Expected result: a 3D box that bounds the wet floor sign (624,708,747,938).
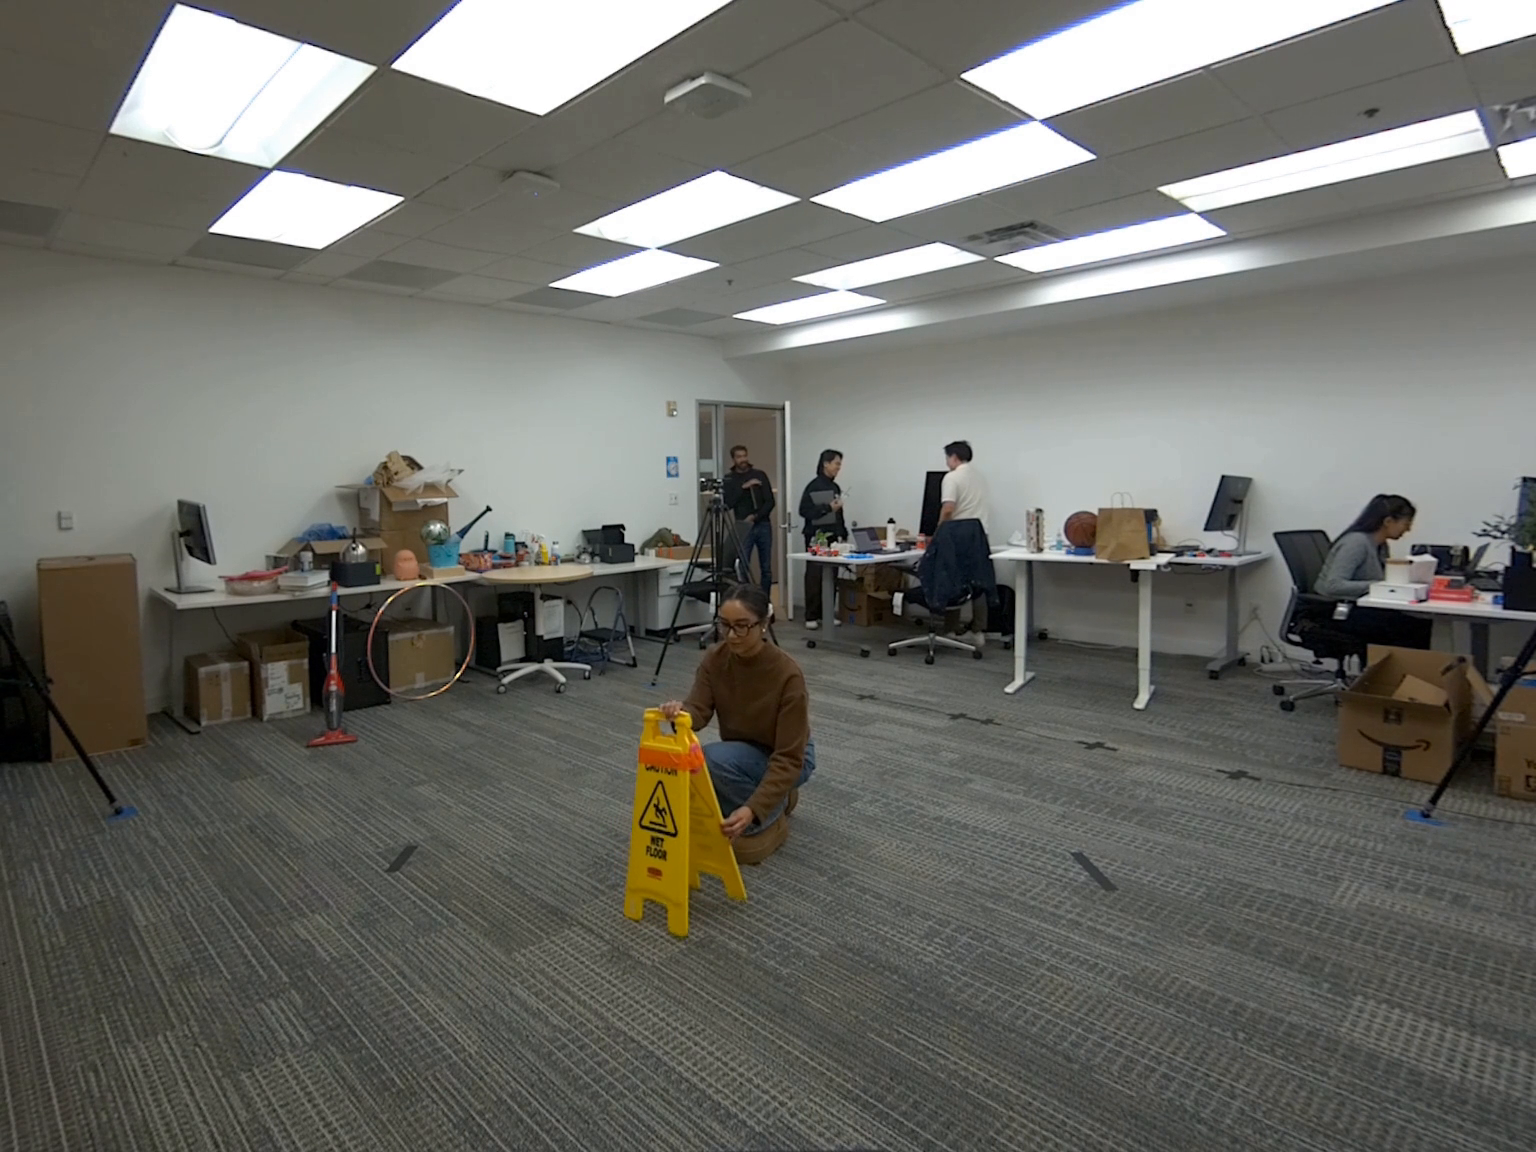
[{"bbox_3d":[-0.295,0.756,2.761,0.290,0.645,0.282,-4,2,41],"label":"wet floor sign"}]
